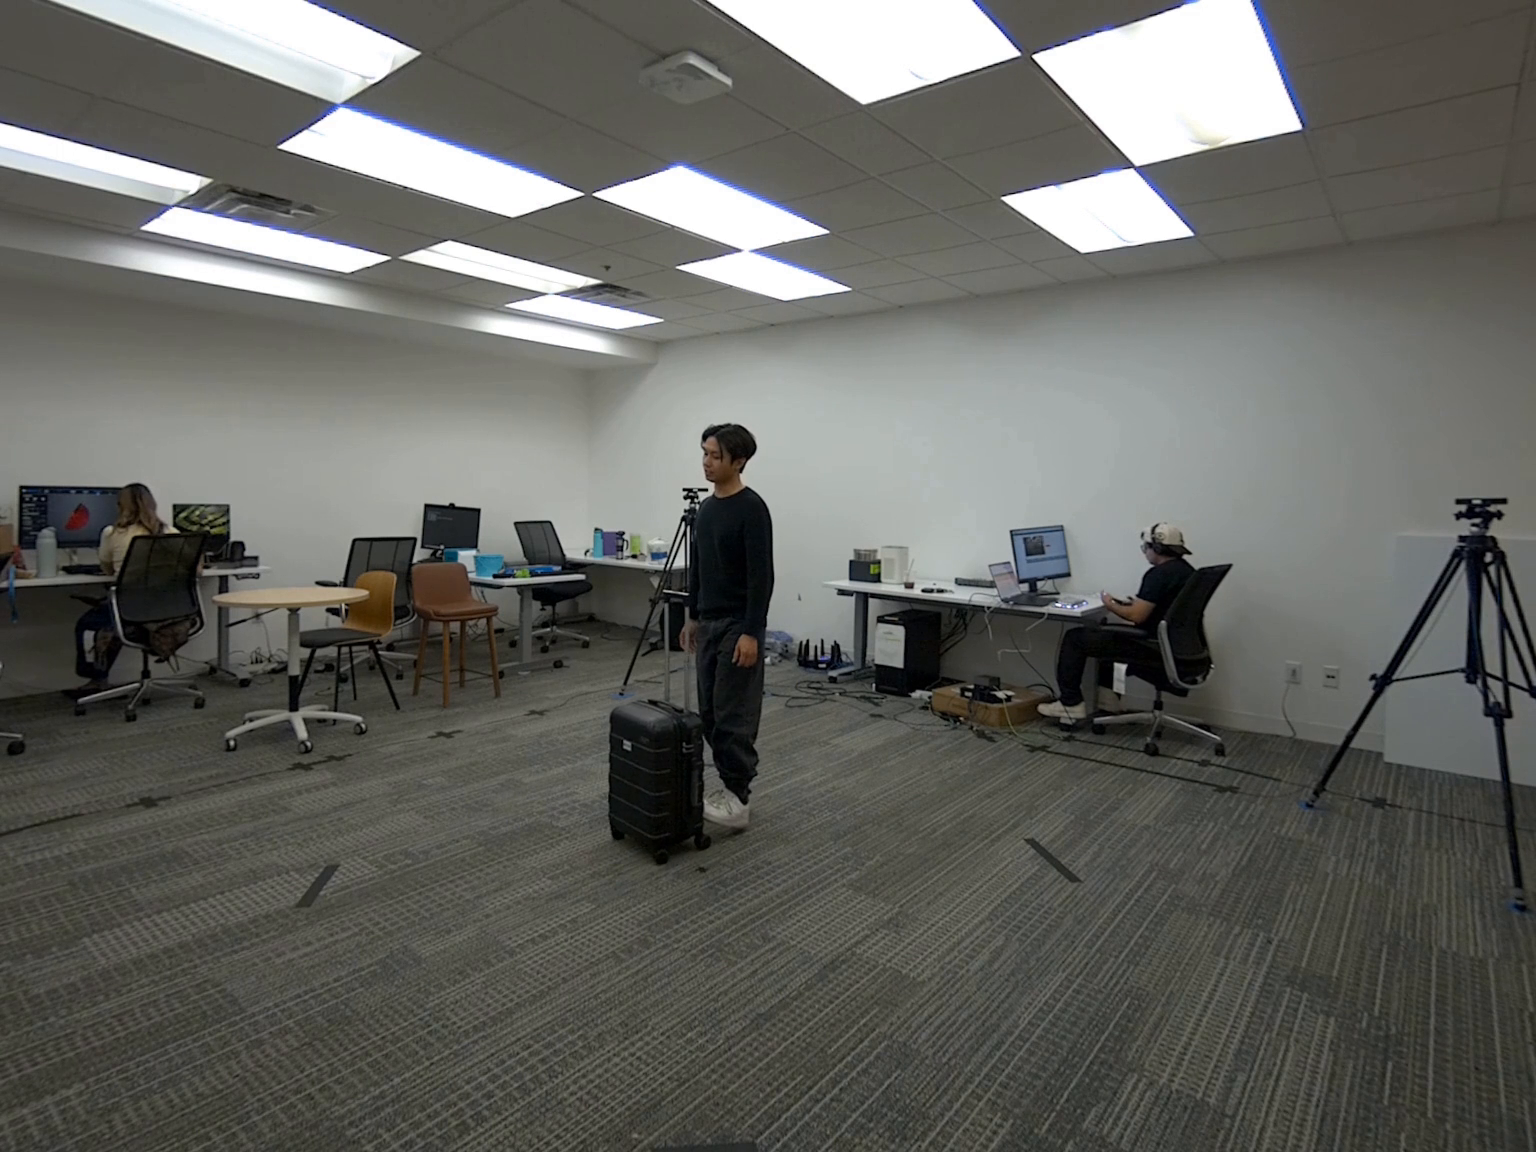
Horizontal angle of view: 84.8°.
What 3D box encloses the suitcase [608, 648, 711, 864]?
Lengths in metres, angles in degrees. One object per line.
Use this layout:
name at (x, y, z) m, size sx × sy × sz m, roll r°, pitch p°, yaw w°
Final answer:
suitcase at (-0.457, 0.572, 3.294) m, size 0.250 × 0.974 × 0.397 m, roll -5°, pitch 6°, yaw -40°
